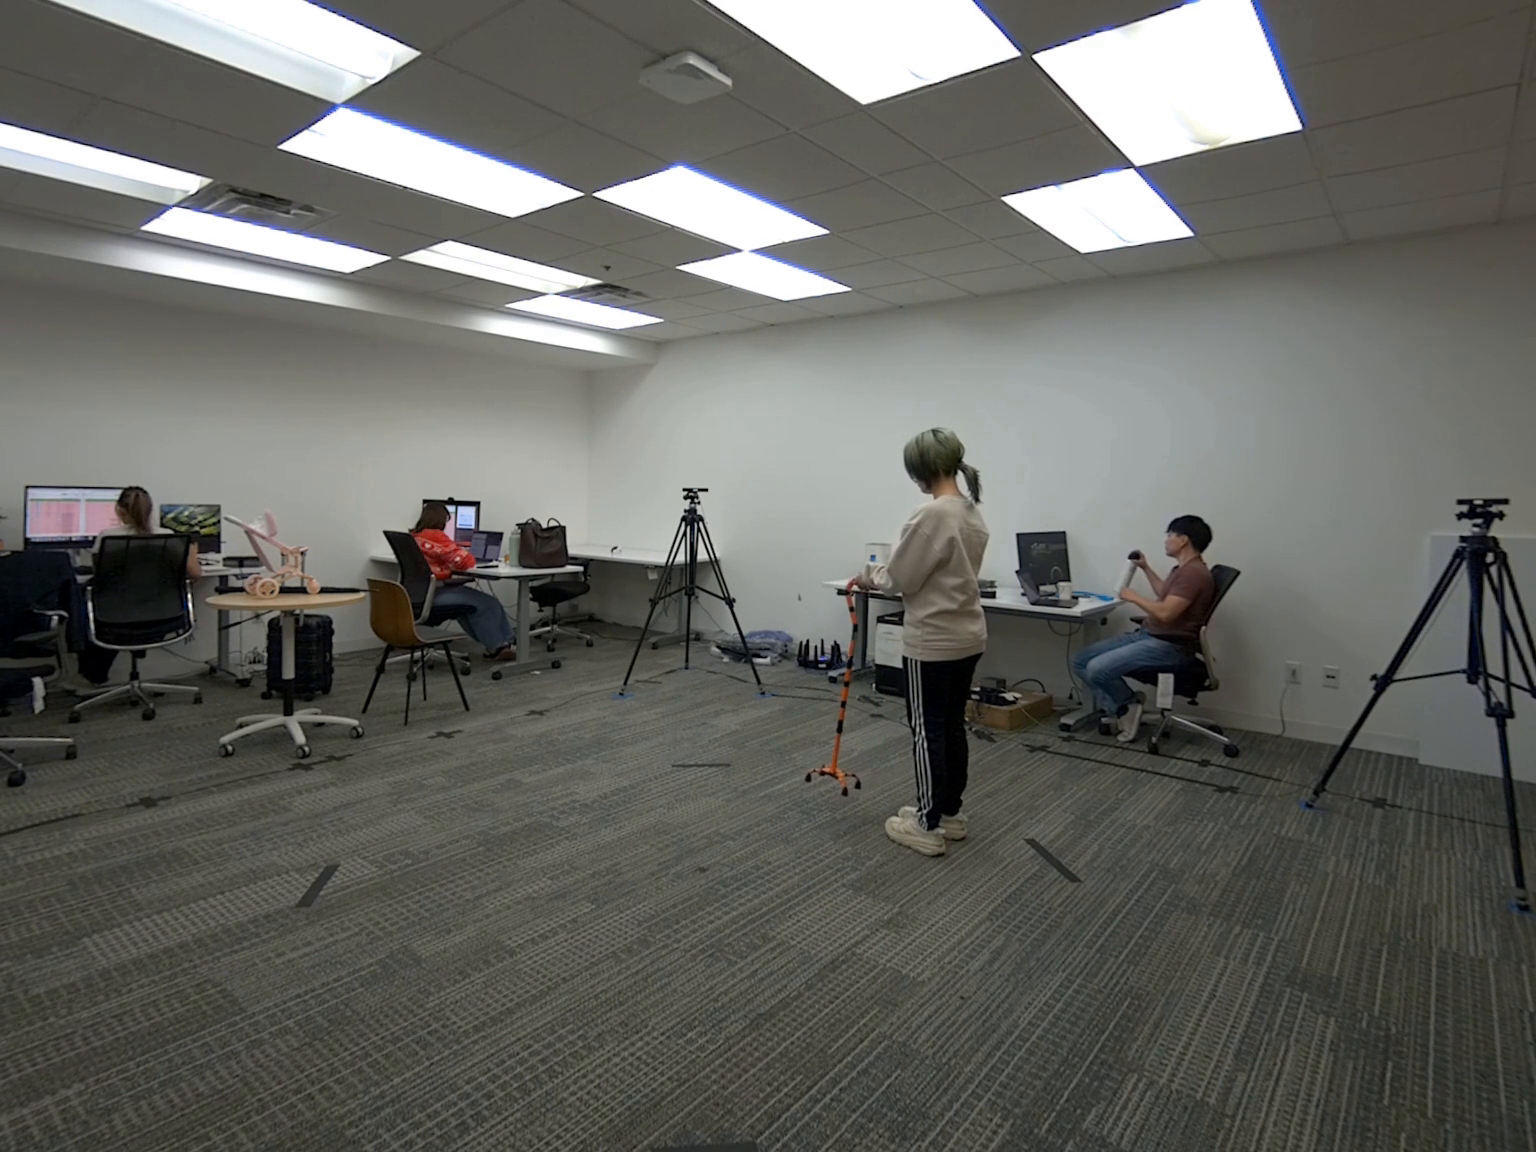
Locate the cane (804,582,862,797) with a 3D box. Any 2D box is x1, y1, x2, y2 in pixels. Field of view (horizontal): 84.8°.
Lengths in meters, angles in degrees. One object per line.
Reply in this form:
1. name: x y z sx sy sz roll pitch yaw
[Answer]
1. cane: 0.331 0.460 3.620 0.213 0.904 0.147 10 6 32
